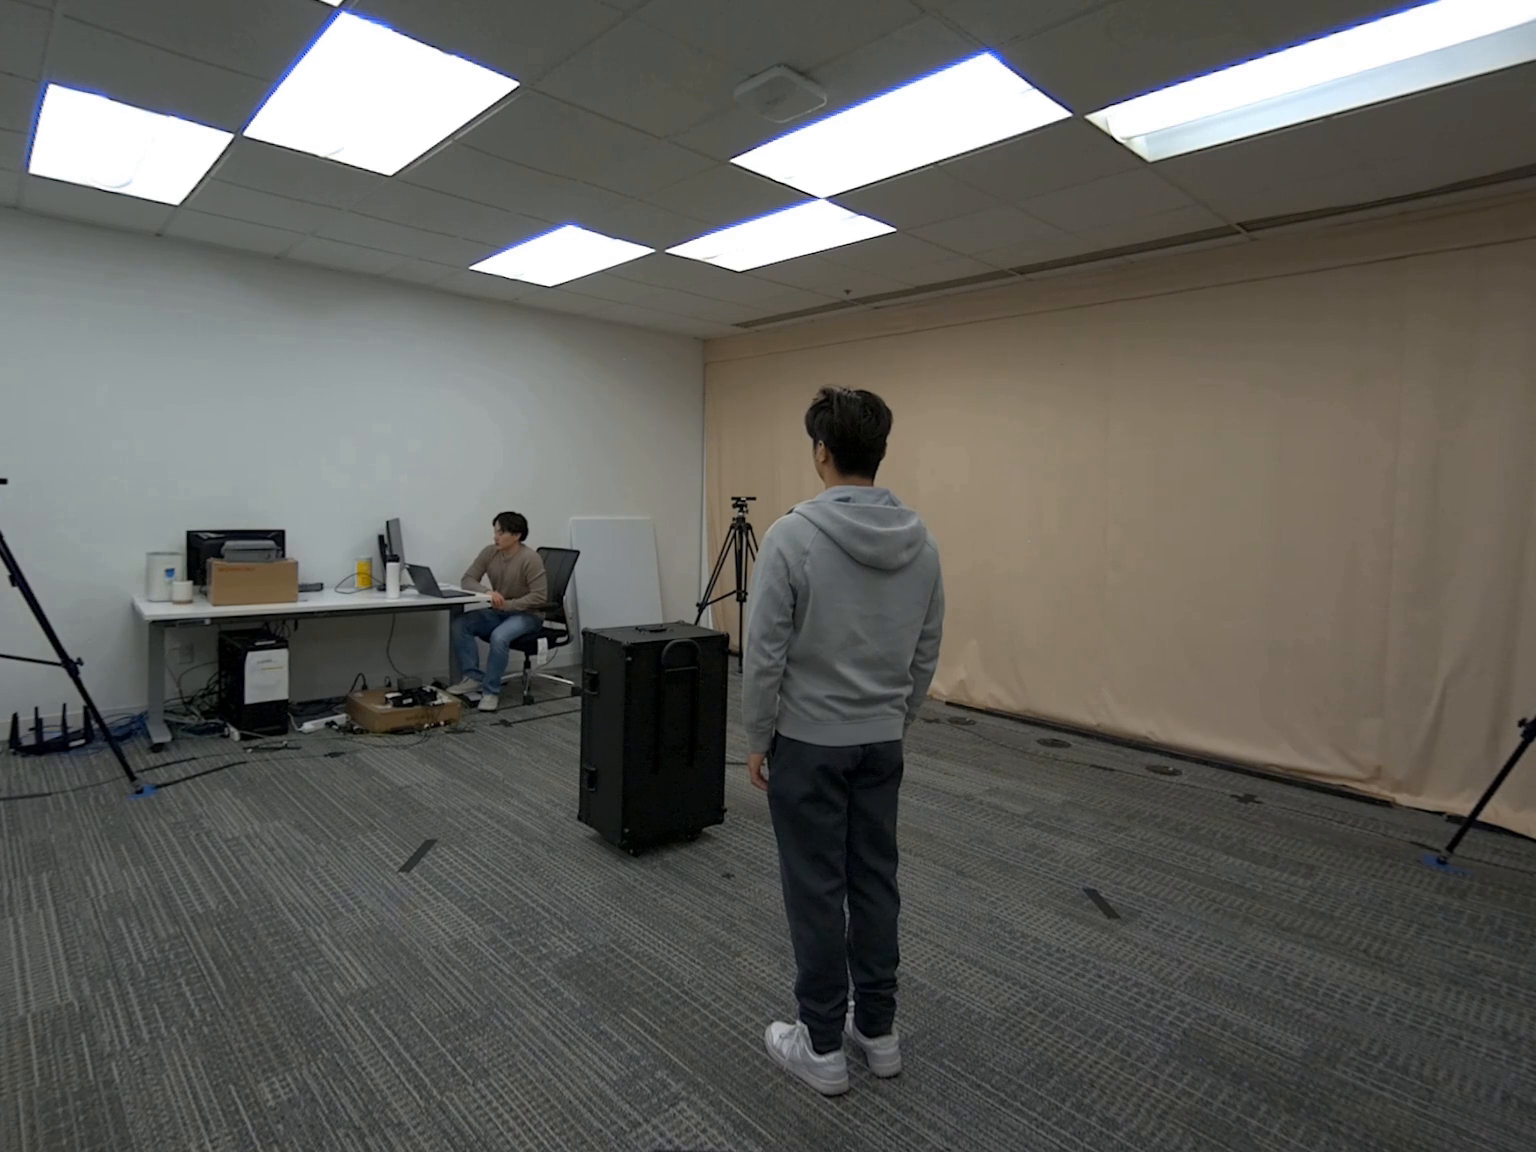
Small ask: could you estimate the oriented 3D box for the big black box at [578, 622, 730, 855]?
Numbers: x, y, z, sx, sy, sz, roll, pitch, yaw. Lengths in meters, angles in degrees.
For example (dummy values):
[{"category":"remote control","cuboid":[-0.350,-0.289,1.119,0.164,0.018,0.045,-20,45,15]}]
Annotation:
[{"category":"big black box","cuboid":[-0.460,0.649,3.405,0.509,0.859,0.406,-1,5,-38]}]
